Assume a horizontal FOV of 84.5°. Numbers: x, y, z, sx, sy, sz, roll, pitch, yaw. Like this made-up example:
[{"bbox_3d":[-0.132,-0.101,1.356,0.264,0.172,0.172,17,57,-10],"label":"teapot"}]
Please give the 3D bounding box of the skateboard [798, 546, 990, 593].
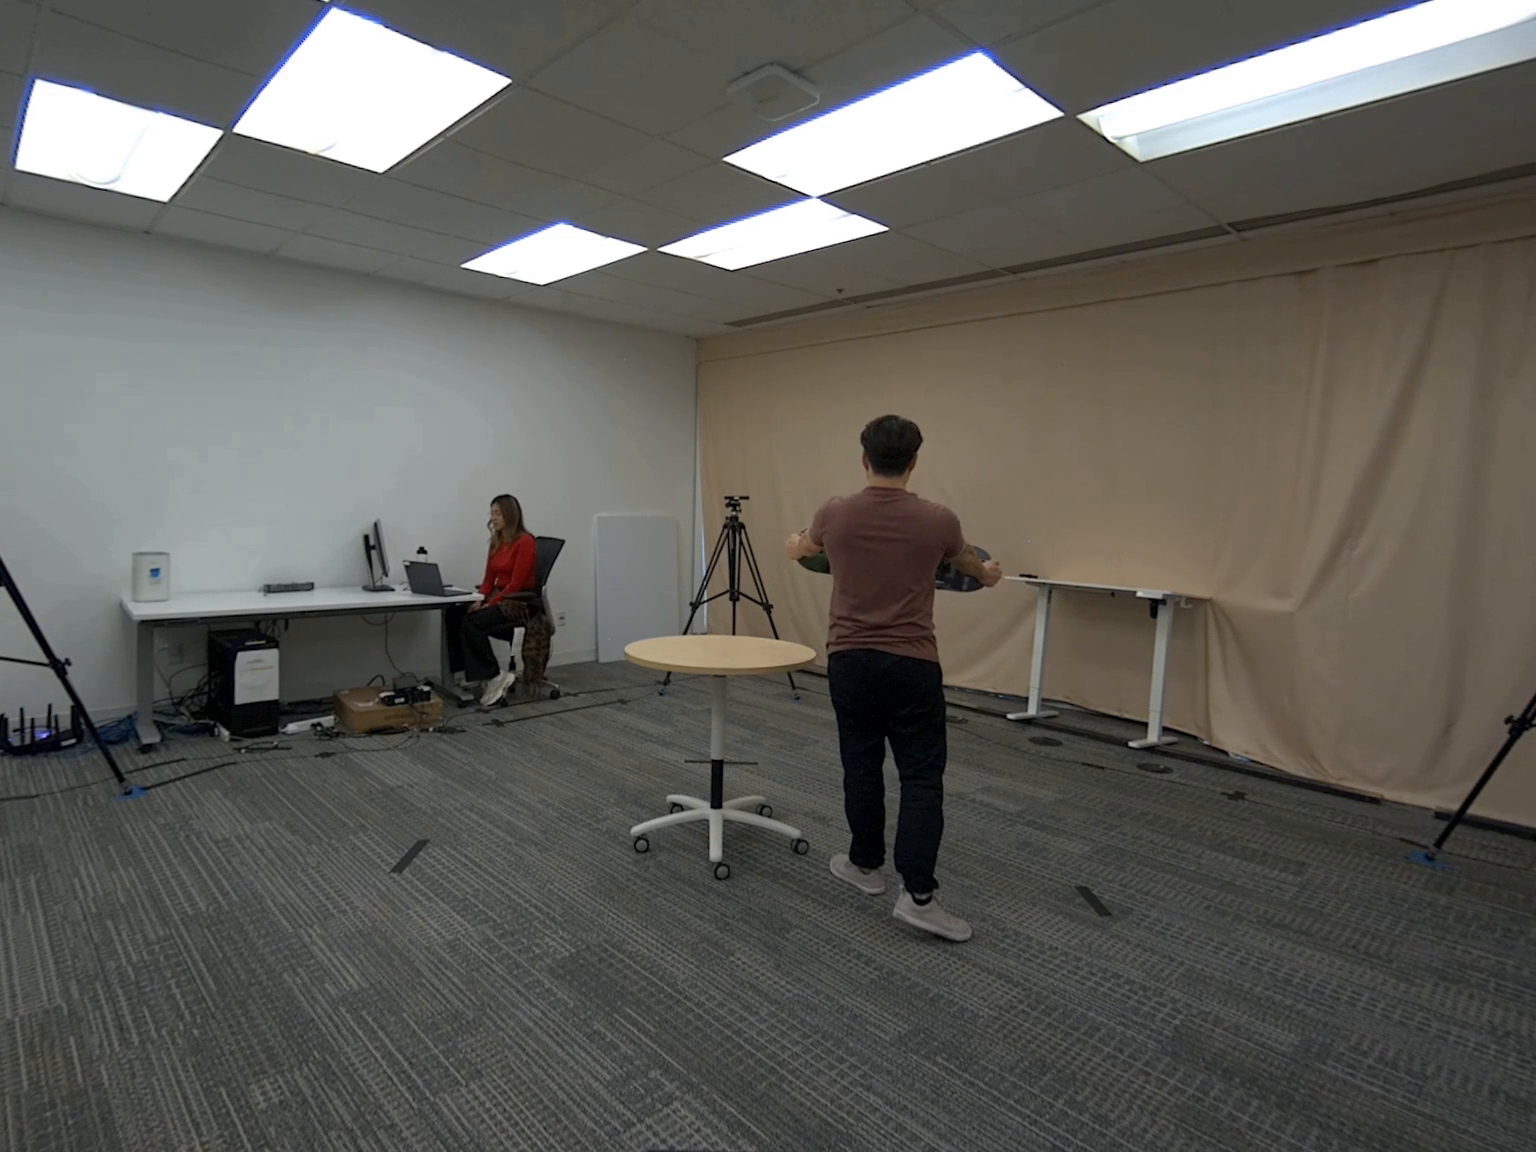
[{"bbox_3d":[0.483,-0.058,3.299,0.796,0.193,0.109,8,5,15],"label":"skateboard"}]
